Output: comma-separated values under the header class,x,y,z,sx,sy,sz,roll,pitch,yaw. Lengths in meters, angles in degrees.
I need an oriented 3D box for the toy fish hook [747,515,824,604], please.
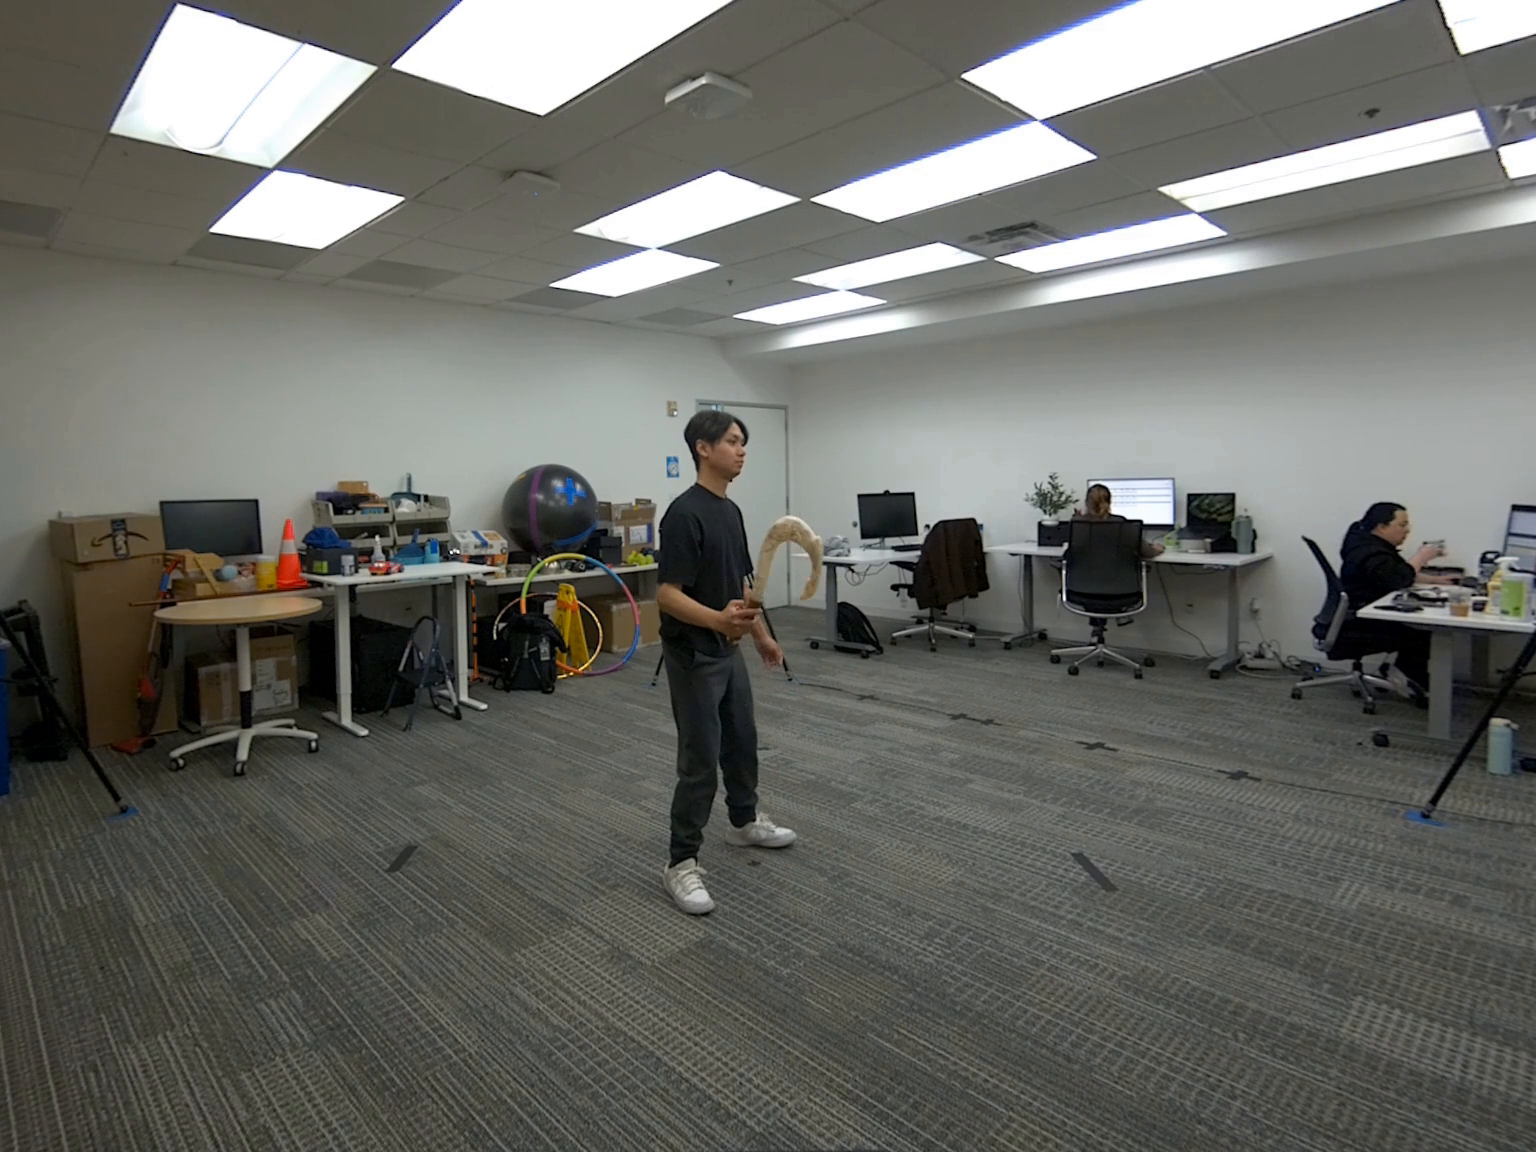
class,x,y,z,sx,sy,sz,roll,pitch,yaw
toy fish hook,0.031,0.075,2.496,0.047,0.501,0.233,-8,46,-41
